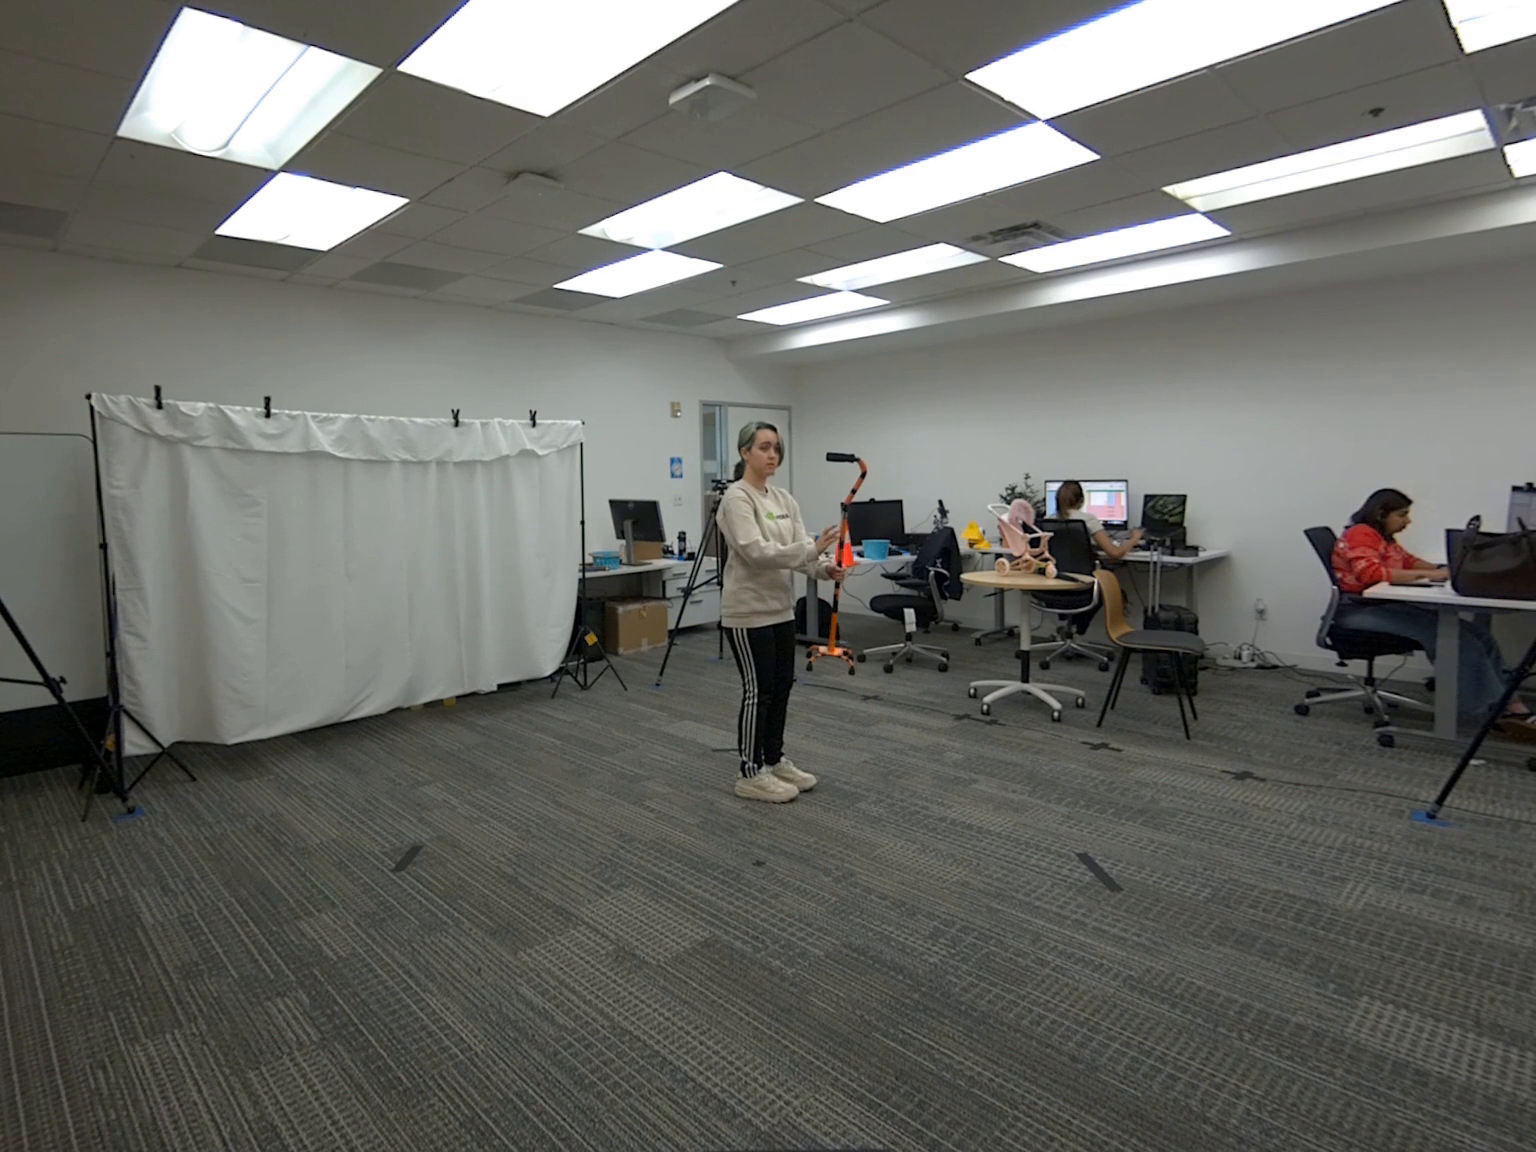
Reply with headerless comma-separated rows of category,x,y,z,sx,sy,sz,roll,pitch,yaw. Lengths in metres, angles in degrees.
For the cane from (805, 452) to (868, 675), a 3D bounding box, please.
cane,0.297,-0.043,3.476,0.207,0.895,0.153,6,17,0
